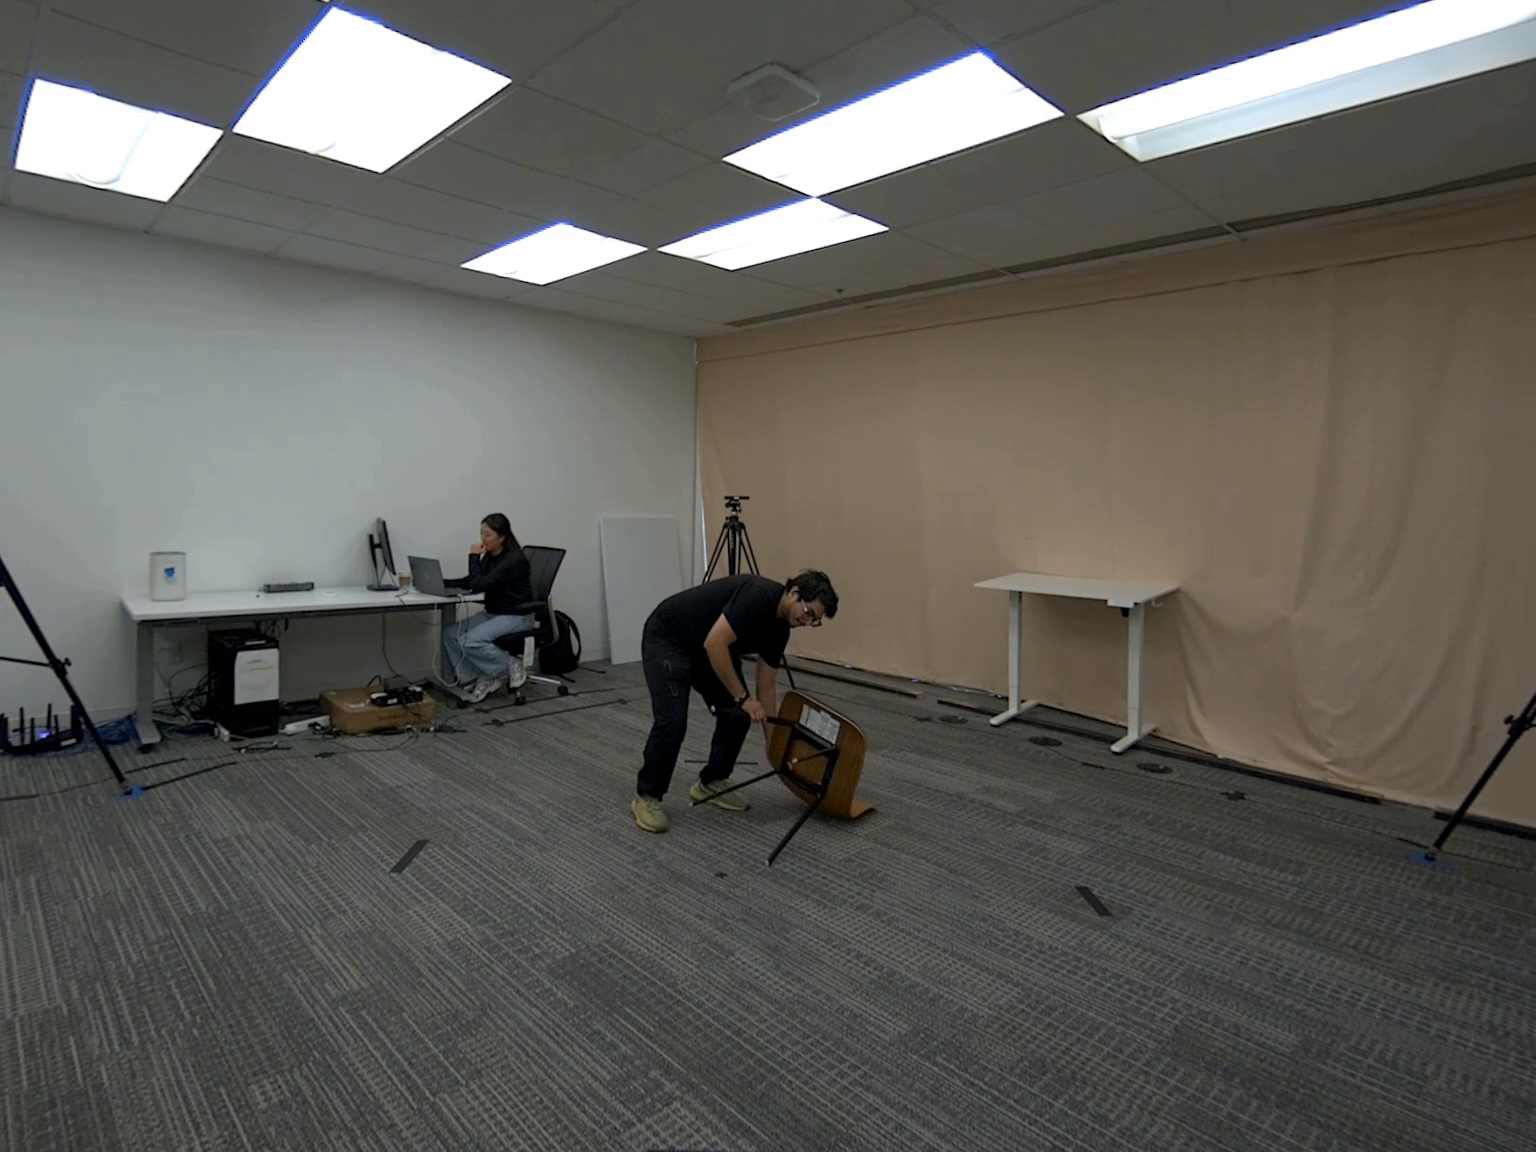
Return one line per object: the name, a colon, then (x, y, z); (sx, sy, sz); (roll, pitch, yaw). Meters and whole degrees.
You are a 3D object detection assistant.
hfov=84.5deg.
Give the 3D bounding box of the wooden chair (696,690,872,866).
wooden chair: (0.161, 0.786, 3.588); (0.492, 0.520, 0.855); (25, 14, 38)
